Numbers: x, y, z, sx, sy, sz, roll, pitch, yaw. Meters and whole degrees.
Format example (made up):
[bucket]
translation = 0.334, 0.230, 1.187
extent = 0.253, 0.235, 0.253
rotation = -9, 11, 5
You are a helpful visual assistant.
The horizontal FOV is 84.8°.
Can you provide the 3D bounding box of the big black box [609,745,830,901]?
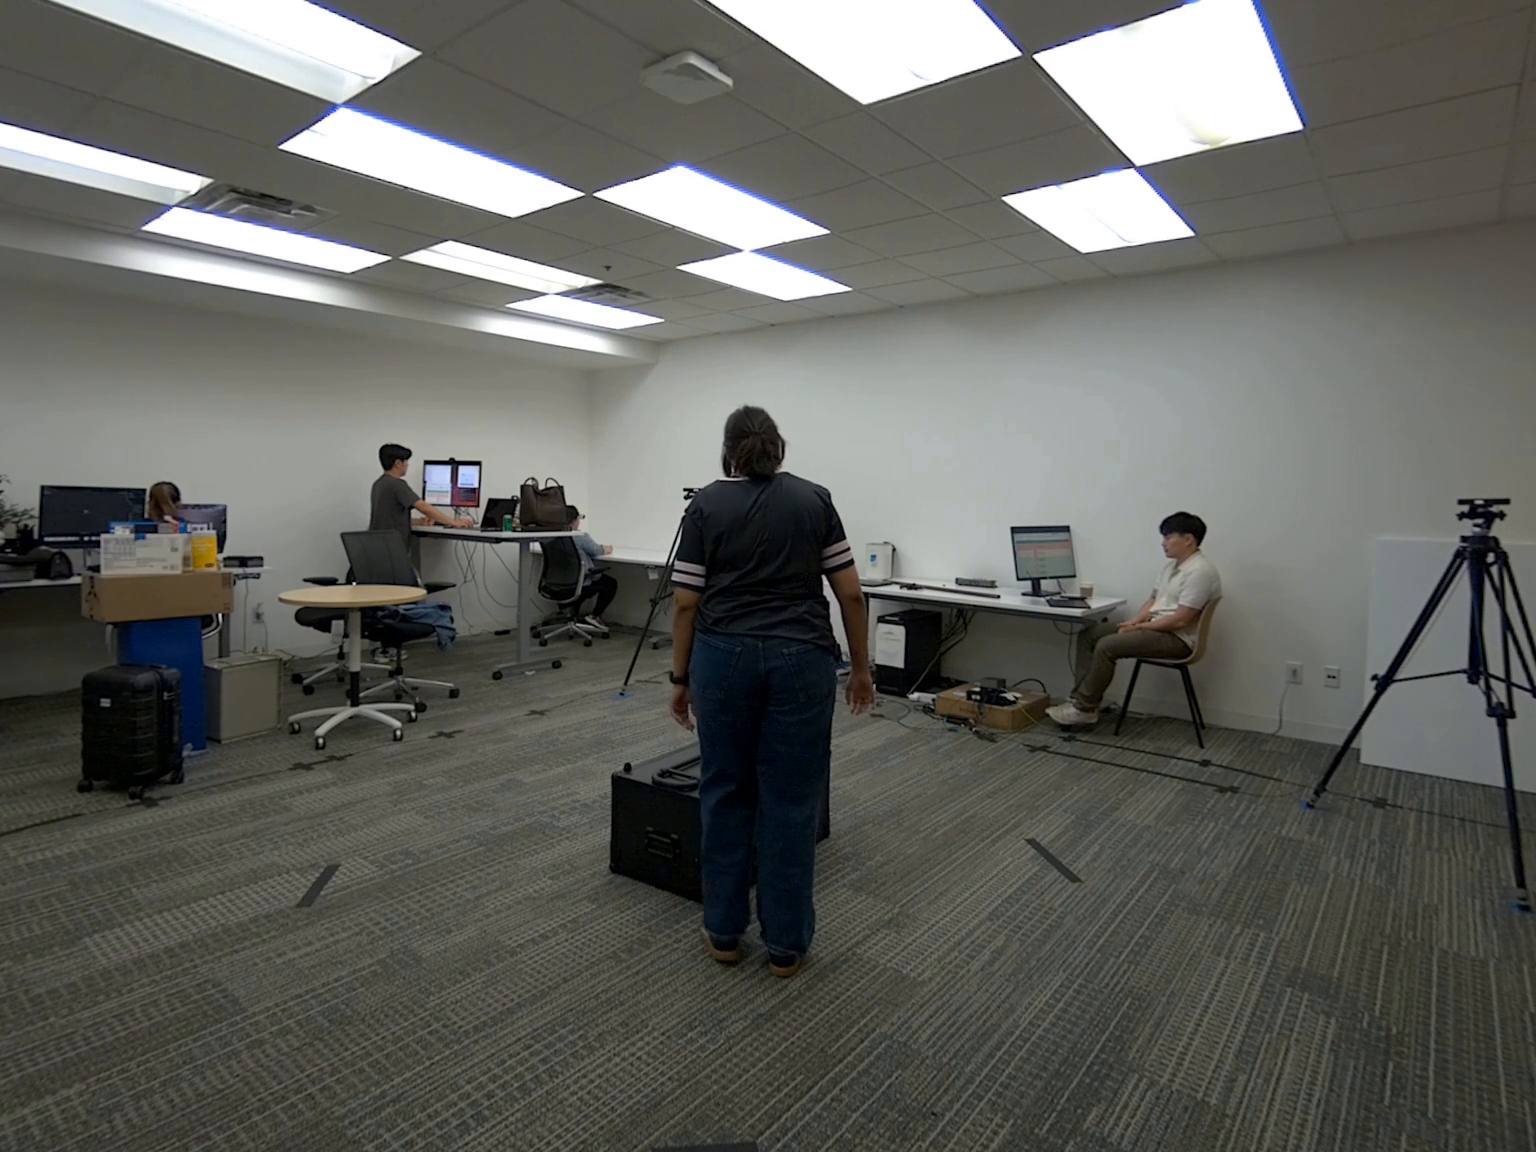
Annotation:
[big black box]
translation = -0.155, 0.869, 3.274
extent = 0.539, 0.384, 0.845
rotation = 2, 5, 33
